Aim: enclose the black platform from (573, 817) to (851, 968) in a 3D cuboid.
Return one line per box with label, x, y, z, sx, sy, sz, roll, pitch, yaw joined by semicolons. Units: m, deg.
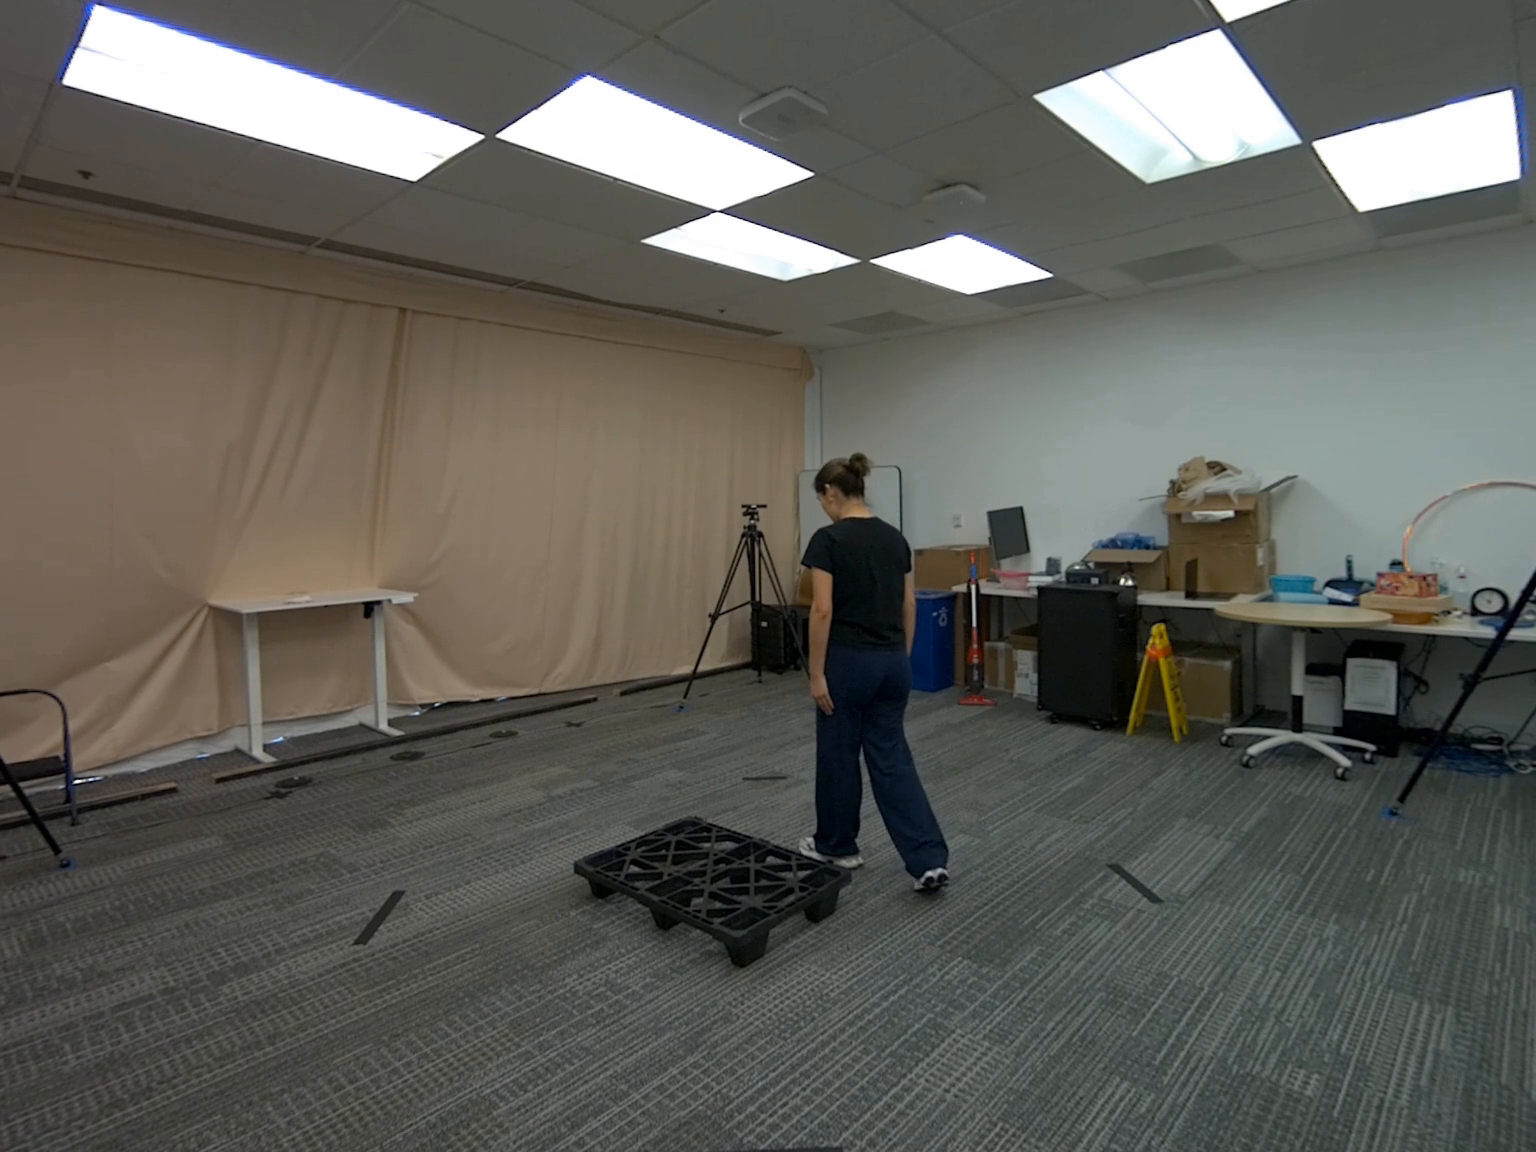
black platform;-0.190;1.083;2.938;0.832;0.143;0.587;3;7;42
